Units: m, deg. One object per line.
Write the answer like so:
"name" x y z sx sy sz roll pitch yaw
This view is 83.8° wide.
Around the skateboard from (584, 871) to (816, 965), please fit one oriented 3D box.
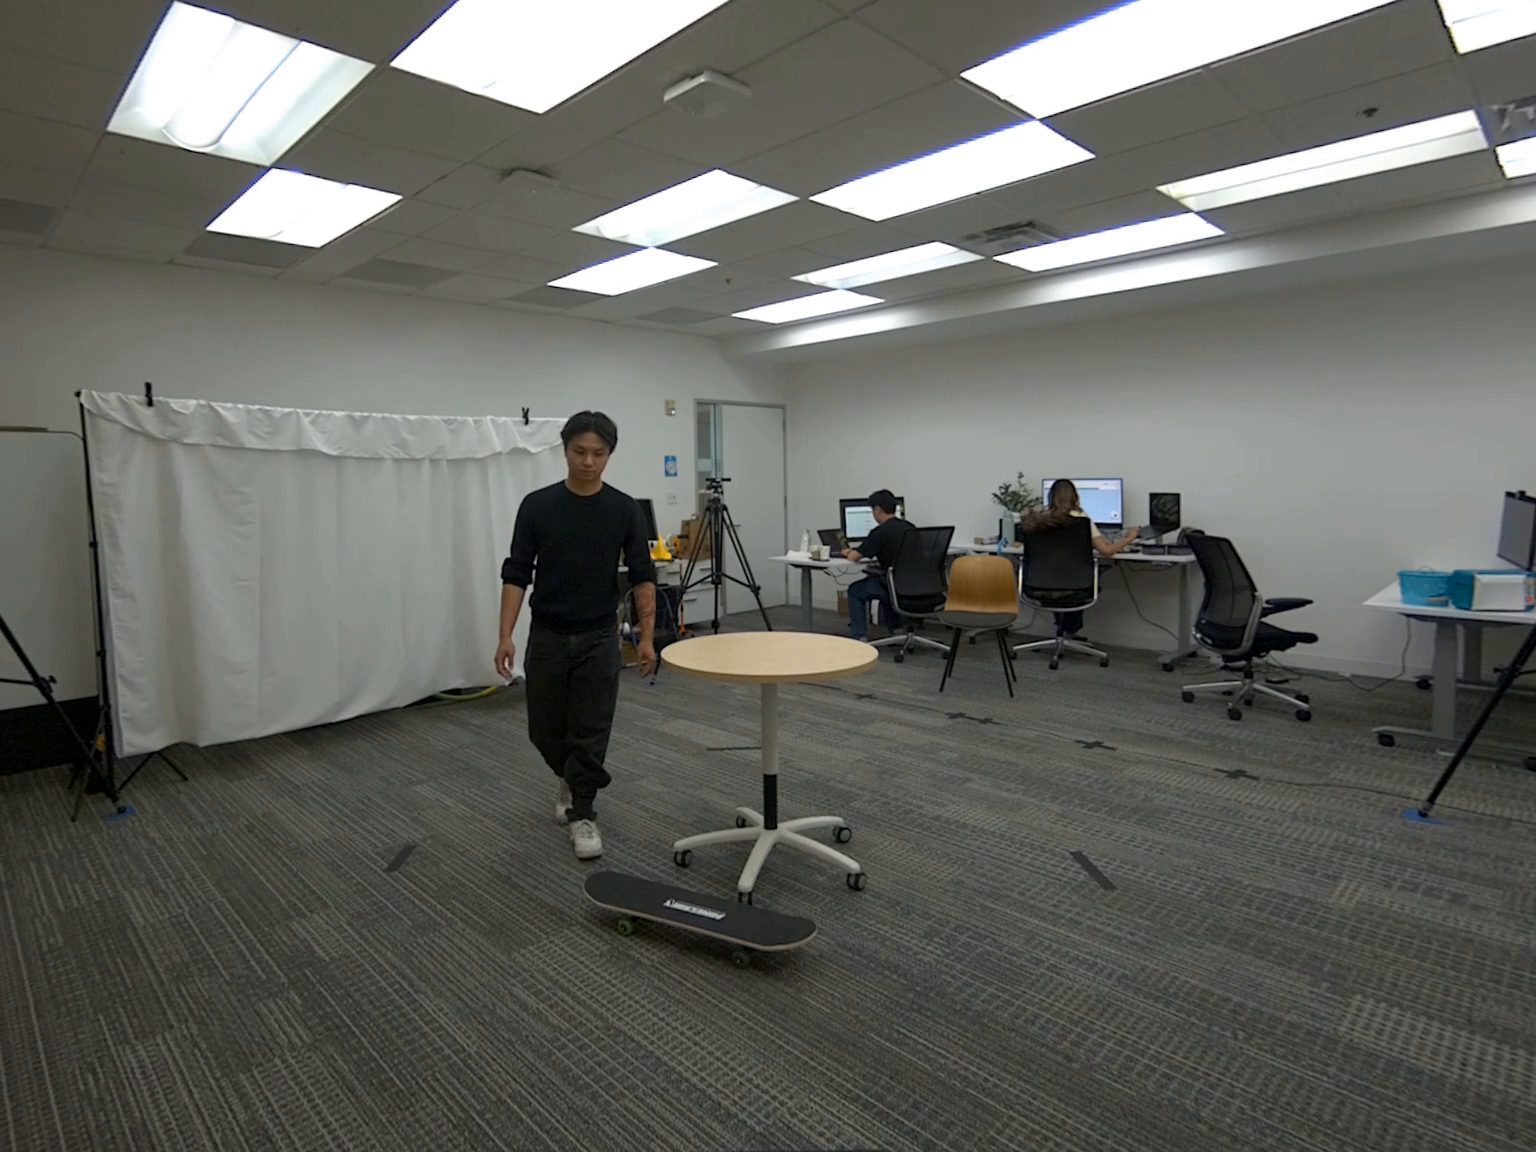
"skateboard" -0.225 1.042 2.605 0.805 0.110 0.189 3 7 28
